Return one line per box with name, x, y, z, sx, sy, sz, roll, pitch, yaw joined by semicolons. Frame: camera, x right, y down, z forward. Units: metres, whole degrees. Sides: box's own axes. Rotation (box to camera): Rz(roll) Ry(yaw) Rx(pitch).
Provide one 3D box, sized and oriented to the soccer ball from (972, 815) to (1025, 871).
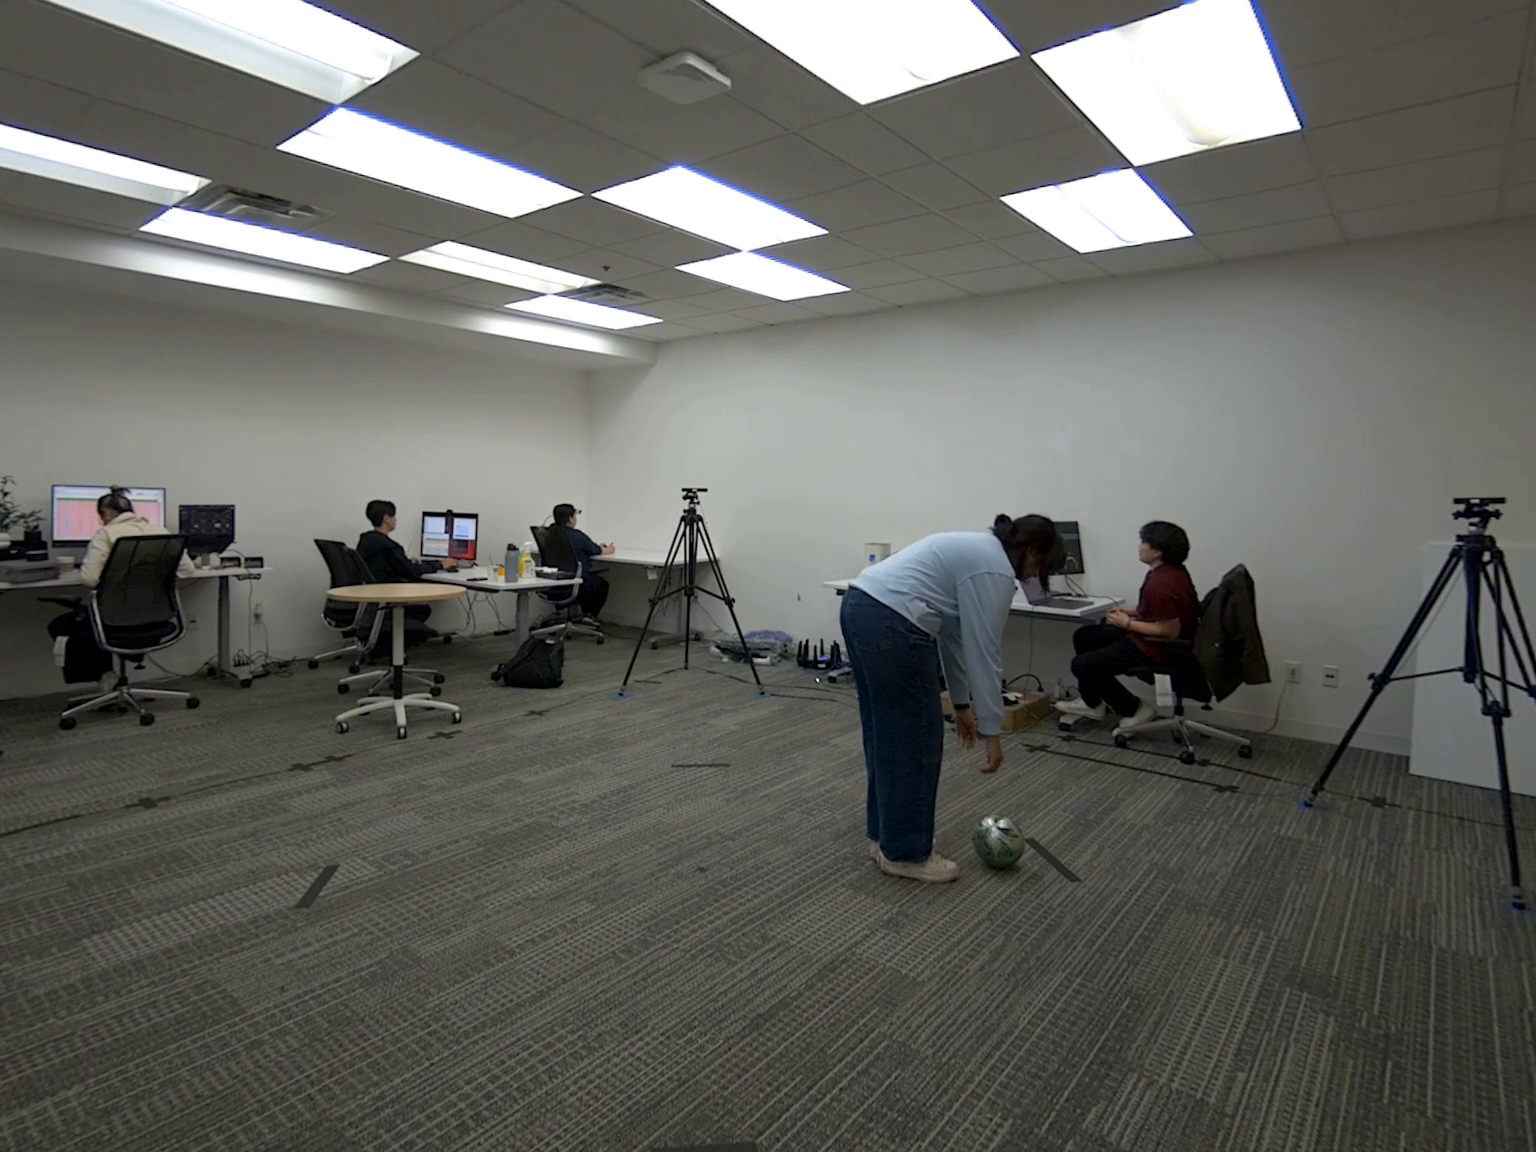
soccer ball;0.866;1.001;3.192;0.187;0.187;0.188;1;4;-2
